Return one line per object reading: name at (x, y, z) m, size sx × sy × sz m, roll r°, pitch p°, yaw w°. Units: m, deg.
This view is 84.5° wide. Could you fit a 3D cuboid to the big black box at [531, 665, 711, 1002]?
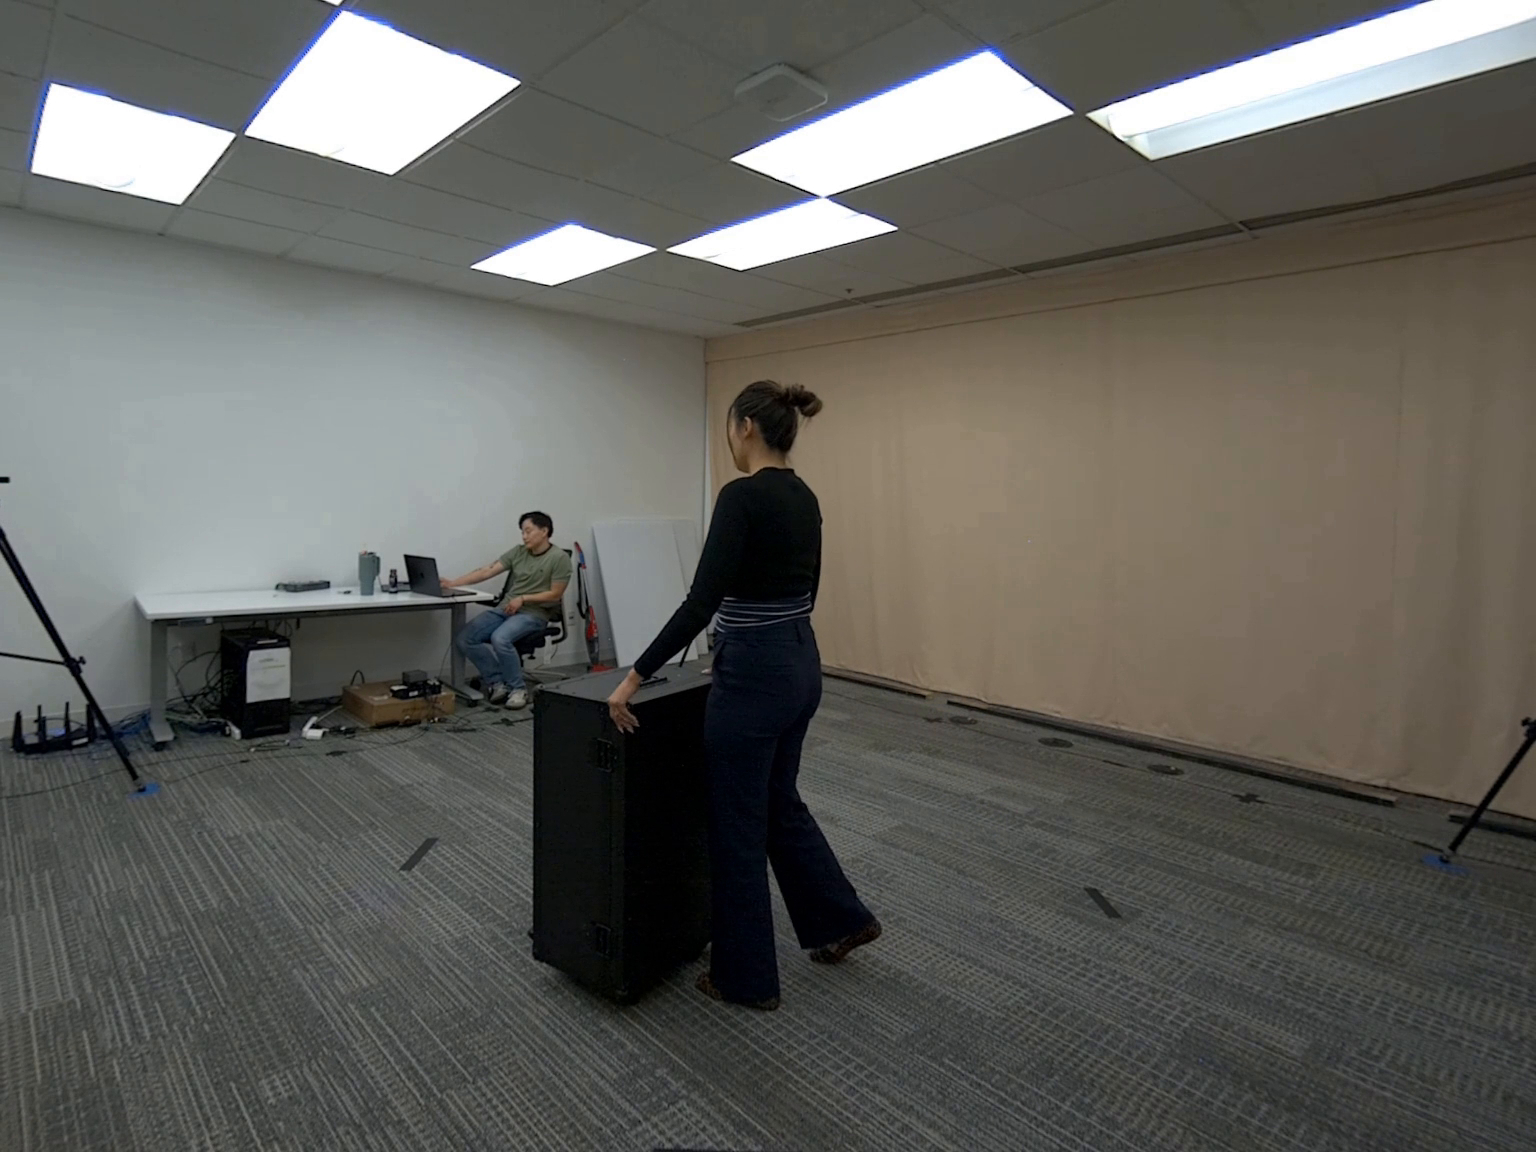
big black box at (-0.404, 0.731, 2.468) m, size 0.405 × 0.860 × 0.510 m, roll 2°, pitch 3°, yaw 34°
